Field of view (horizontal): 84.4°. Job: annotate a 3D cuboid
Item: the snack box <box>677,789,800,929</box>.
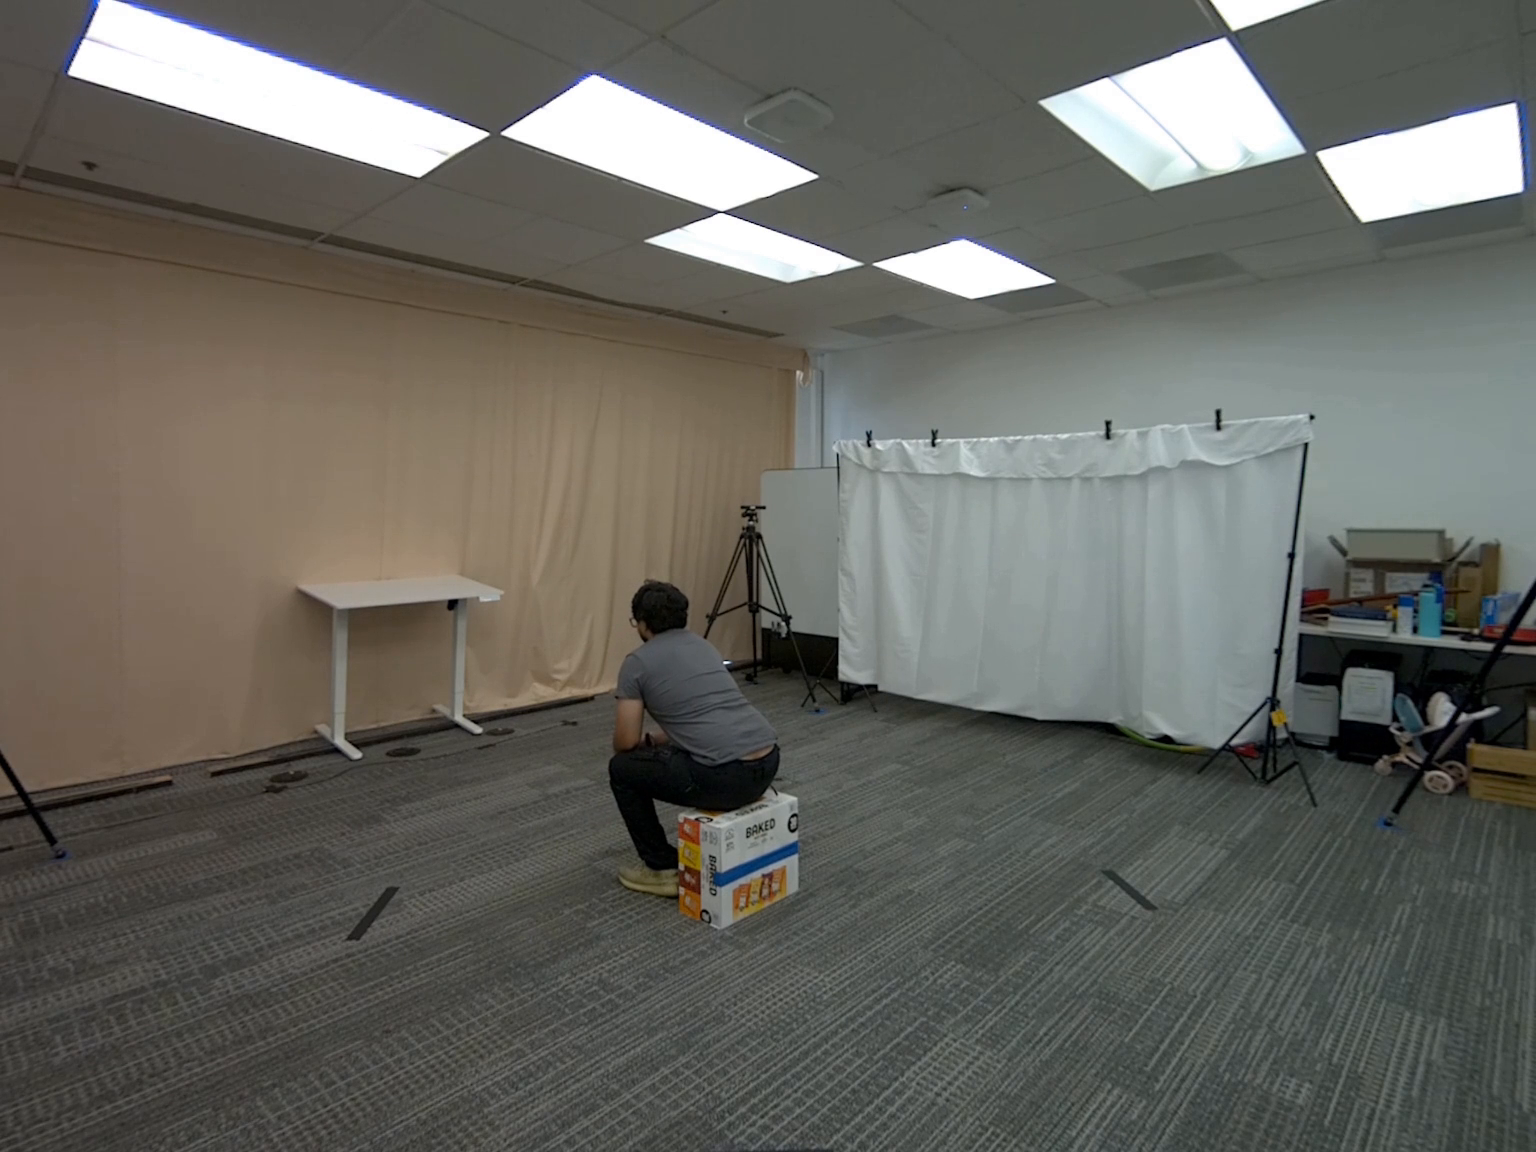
[{"bbox_3d":[-0.093,0.978,2.964,0.212,0.340,0.393,2,4,43],"label":"snack box"}]
